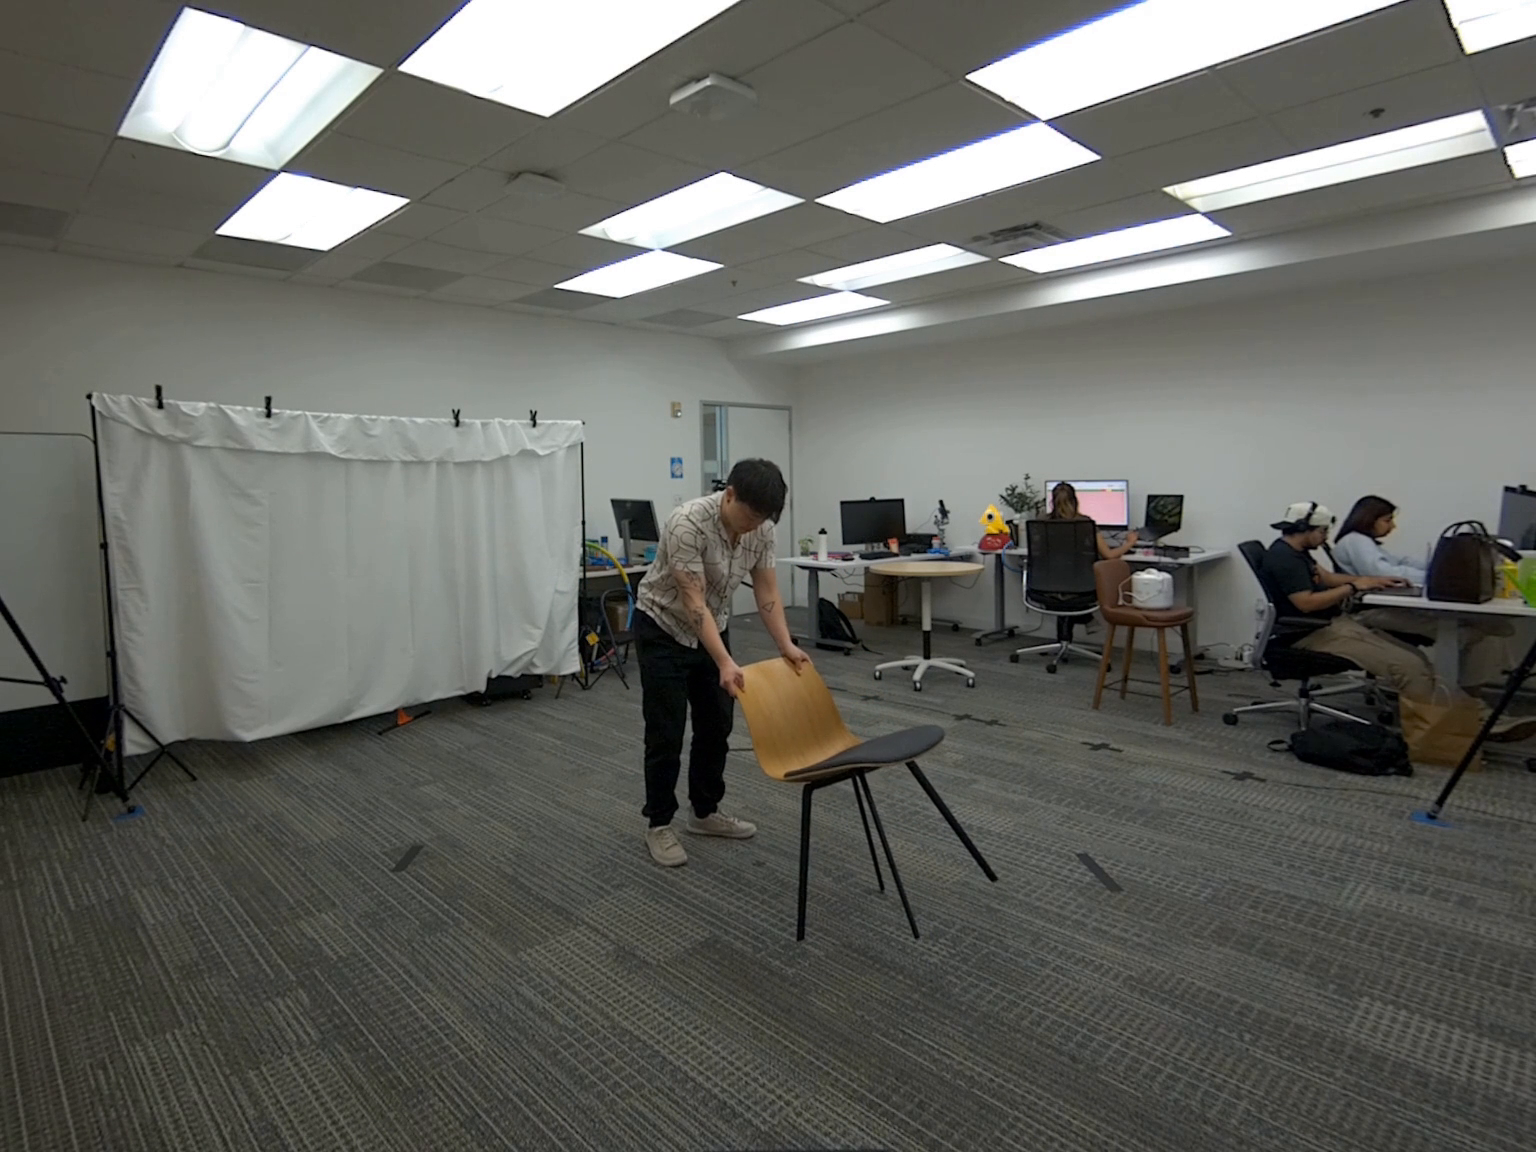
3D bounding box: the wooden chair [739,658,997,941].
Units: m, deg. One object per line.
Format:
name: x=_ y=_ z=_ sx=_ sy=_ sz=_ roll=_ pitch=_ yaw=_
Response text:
wooden chair: x=0.277 y=0.610 z=2.666 sx=0.465 sy=0.893 sz=0.528 roll=-5 pitch=-20 yaw=-46
